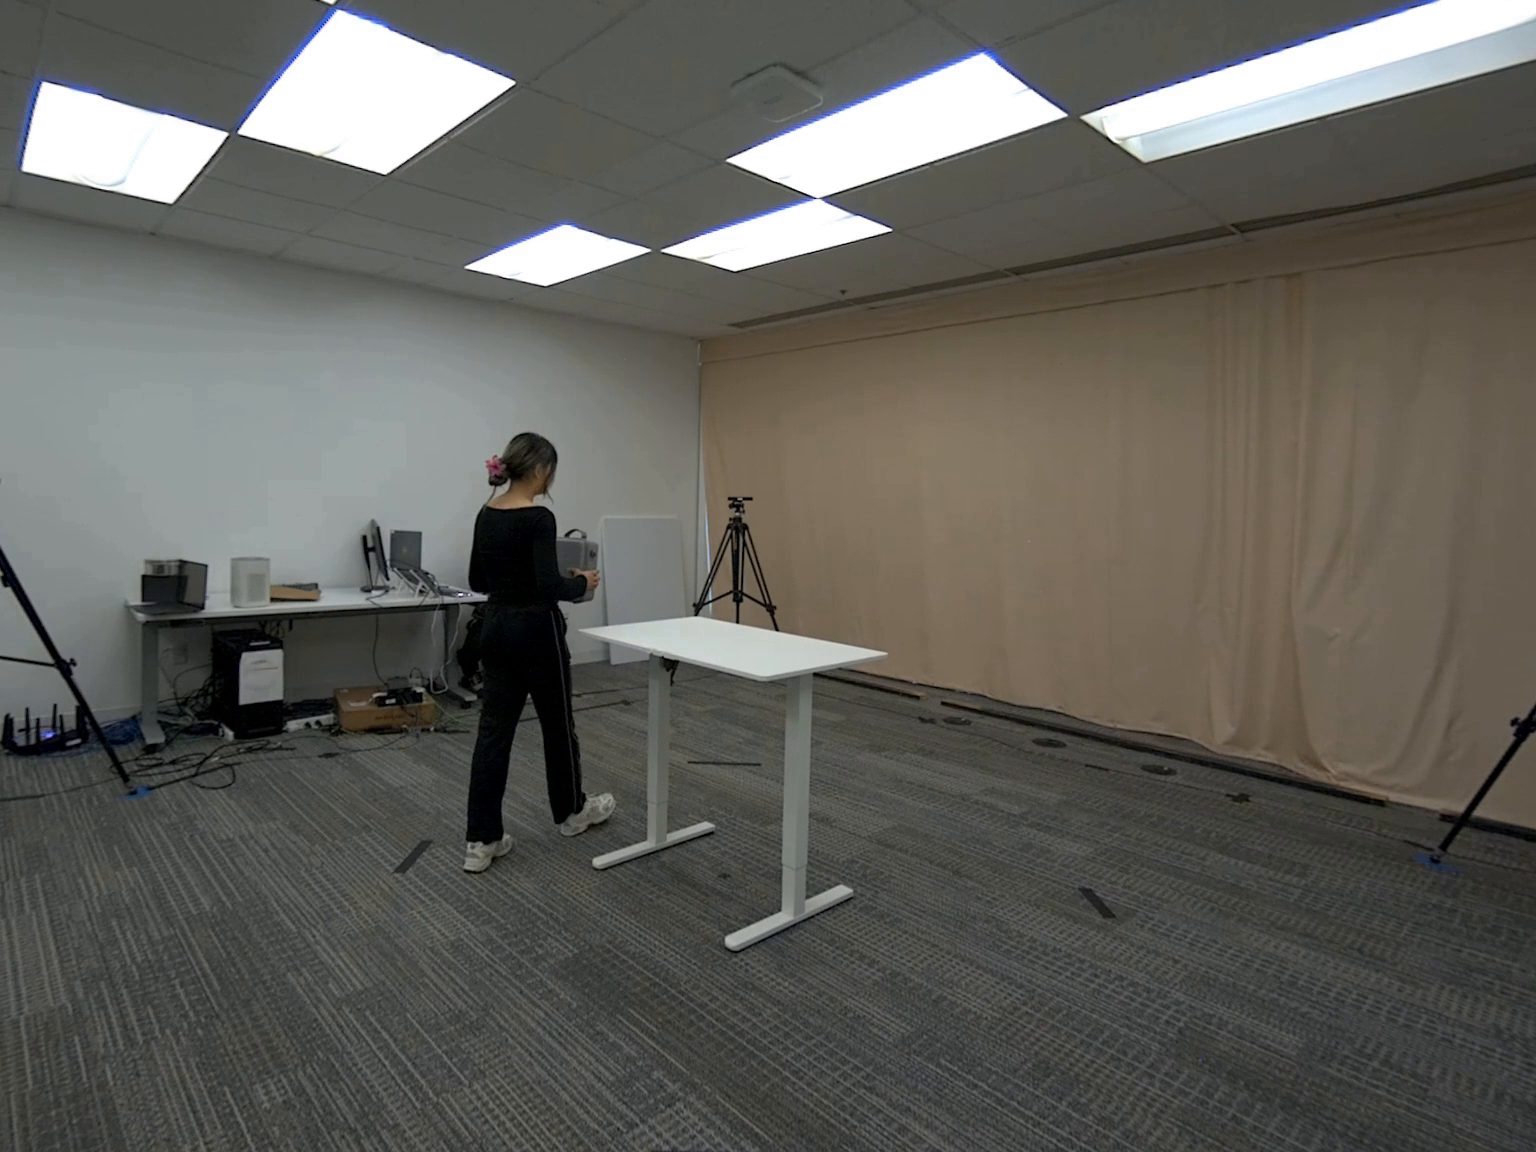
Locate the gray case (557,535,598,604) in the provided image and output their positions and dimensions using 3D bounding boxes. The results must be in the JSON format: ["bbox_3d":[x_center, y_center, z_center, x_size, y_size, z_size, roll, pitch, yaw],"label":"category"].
[{"bbox_3d":[-0.826,-0.032,3.439,0.263,0.261,0.101,4,-3,45],"label":"gray case"}]
